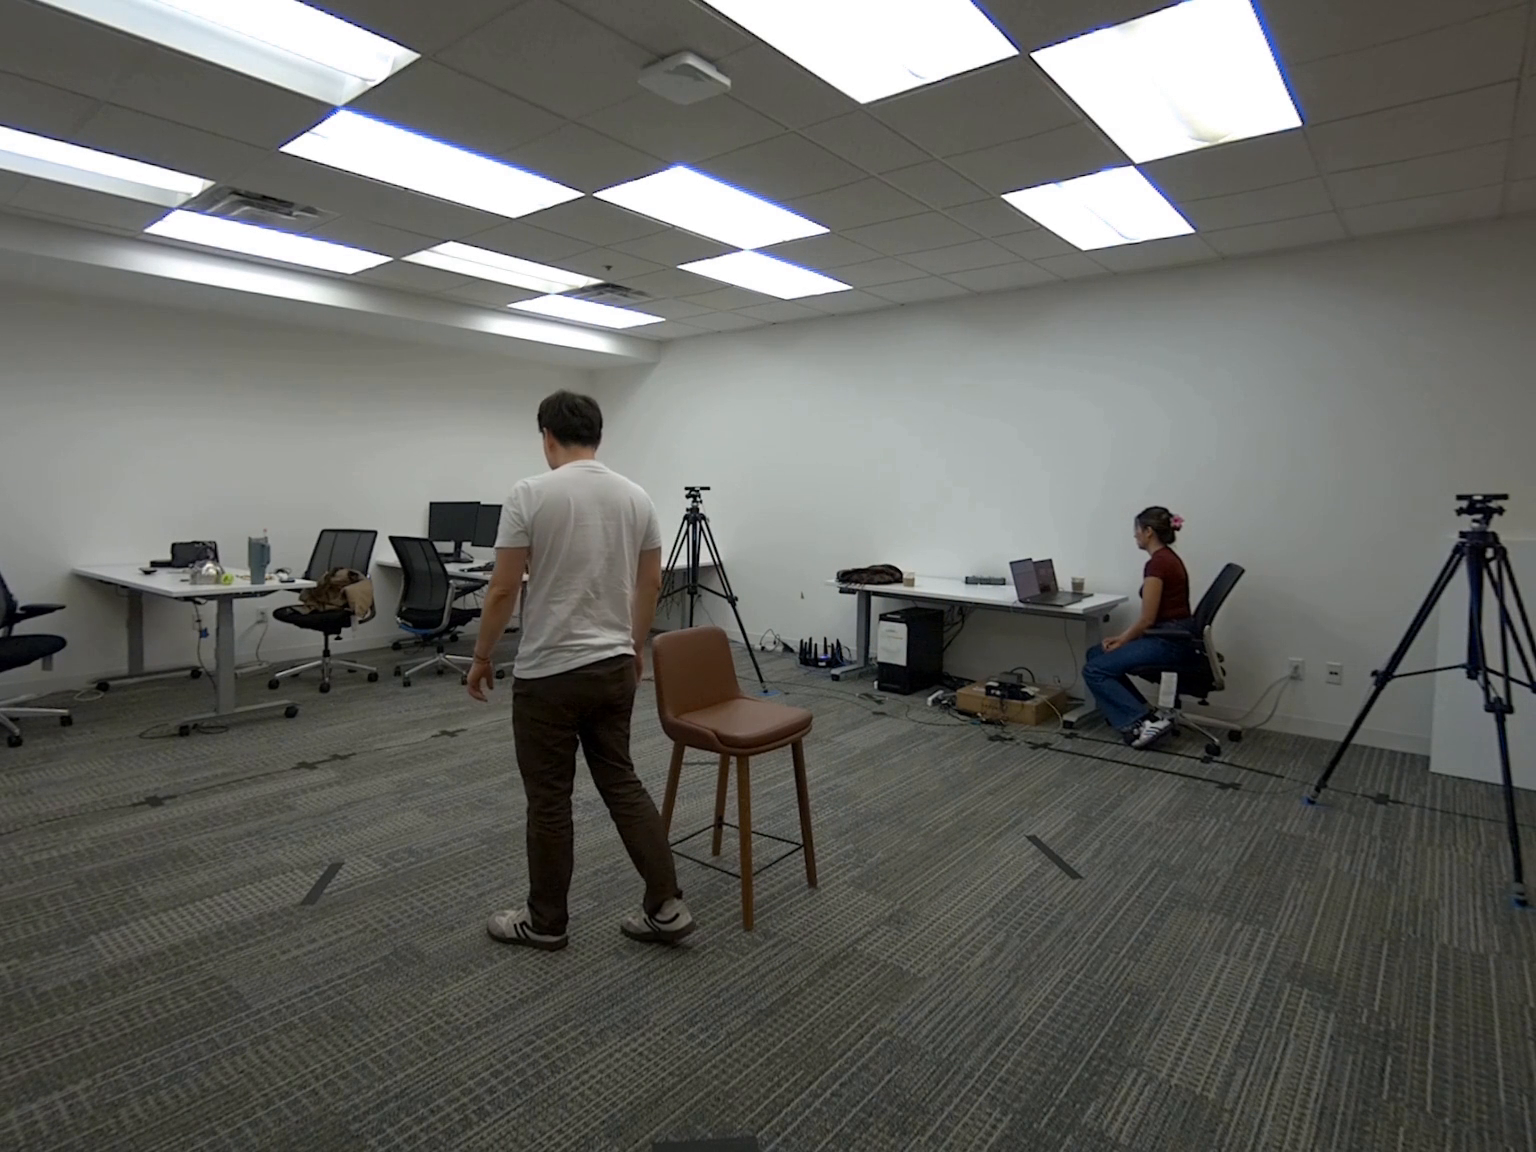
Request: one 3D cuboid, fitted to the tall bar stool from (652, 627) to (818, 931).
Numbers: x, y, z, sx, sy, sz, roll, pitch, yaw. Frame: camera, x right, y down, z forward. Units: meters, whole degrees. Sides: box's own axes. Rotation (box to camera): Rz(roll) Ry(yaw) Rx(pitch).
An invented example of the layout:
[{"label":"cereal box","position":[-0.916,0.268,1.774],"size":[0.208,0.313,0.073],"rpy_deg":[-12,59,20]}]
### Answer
[{"label":"tall bar stool","position":[-0.129,0.647,2.946],"size":[0.482,0.888,0.443],"rpy_deg":[1,2,37]}]
